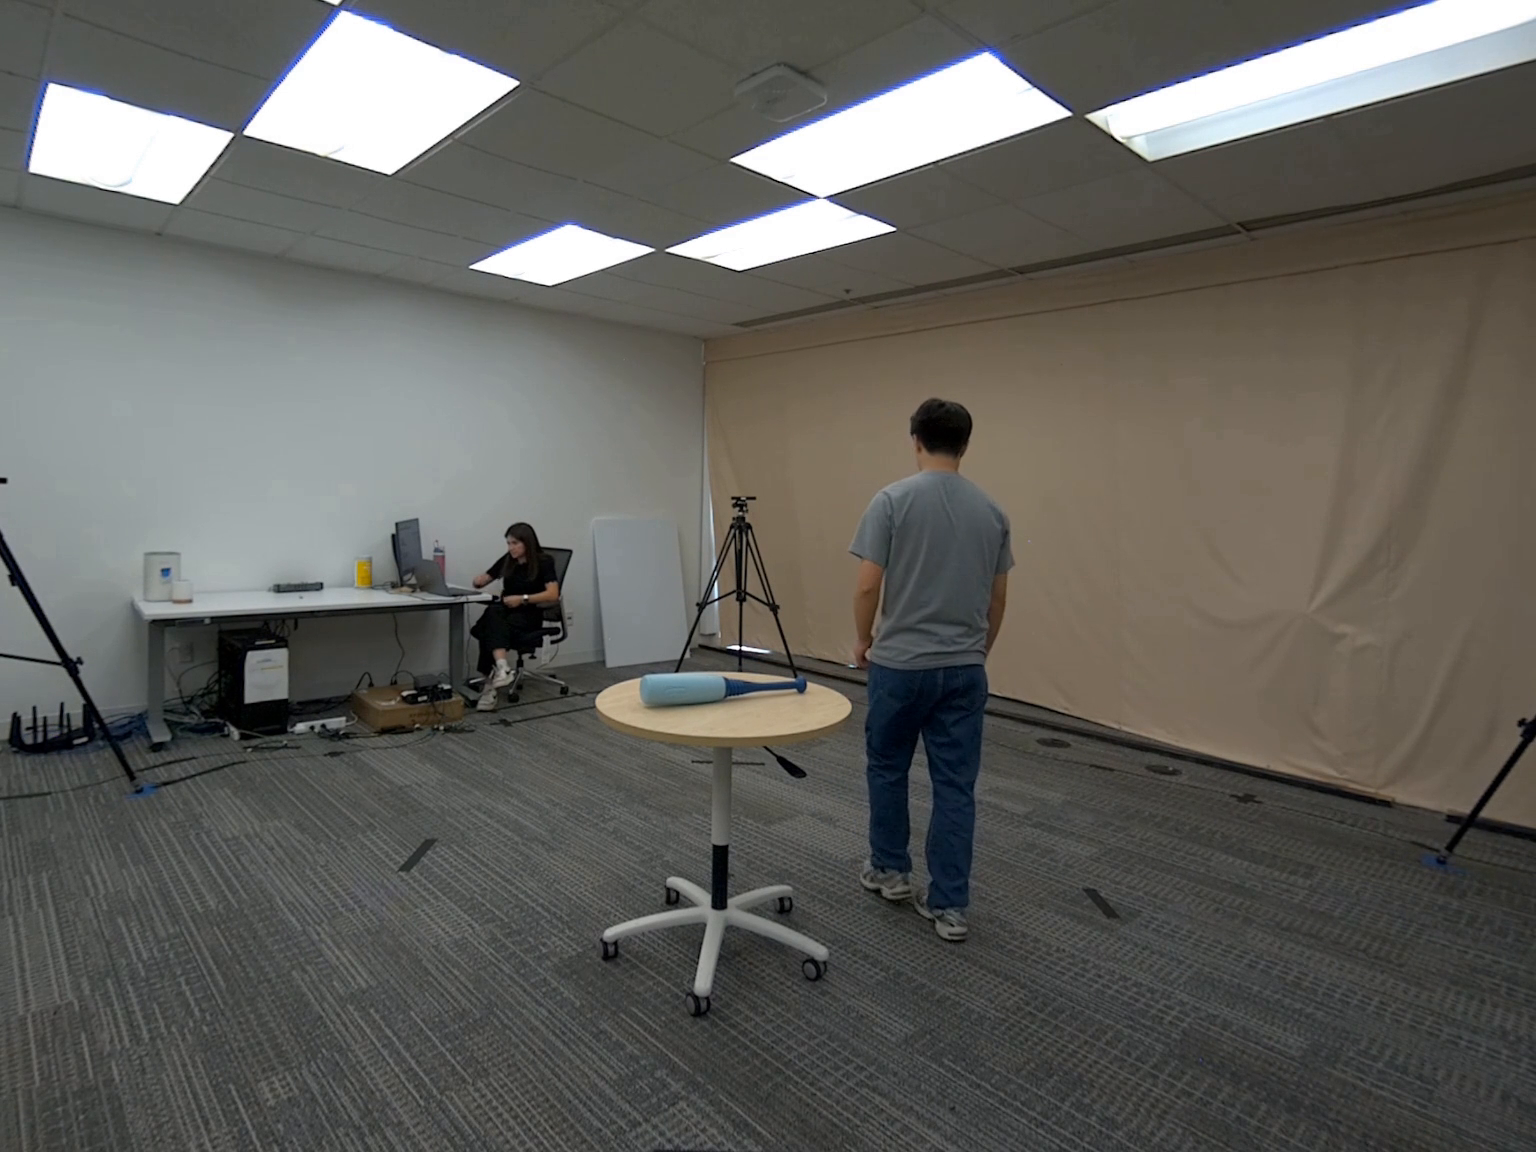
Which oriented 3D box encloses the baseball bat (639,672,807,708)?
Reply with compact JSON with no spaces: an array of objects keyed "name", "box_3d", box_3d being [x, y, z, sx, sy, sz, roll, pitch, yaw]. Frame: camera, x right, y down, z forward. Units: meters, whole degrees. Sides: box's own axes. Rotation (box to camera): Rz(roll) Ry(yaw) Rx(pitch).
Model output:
[{"name":"baseball bat","box_3d":[-0.126,0.341,2.530,0.532,0.089,0.091,2,3,-28]}]
